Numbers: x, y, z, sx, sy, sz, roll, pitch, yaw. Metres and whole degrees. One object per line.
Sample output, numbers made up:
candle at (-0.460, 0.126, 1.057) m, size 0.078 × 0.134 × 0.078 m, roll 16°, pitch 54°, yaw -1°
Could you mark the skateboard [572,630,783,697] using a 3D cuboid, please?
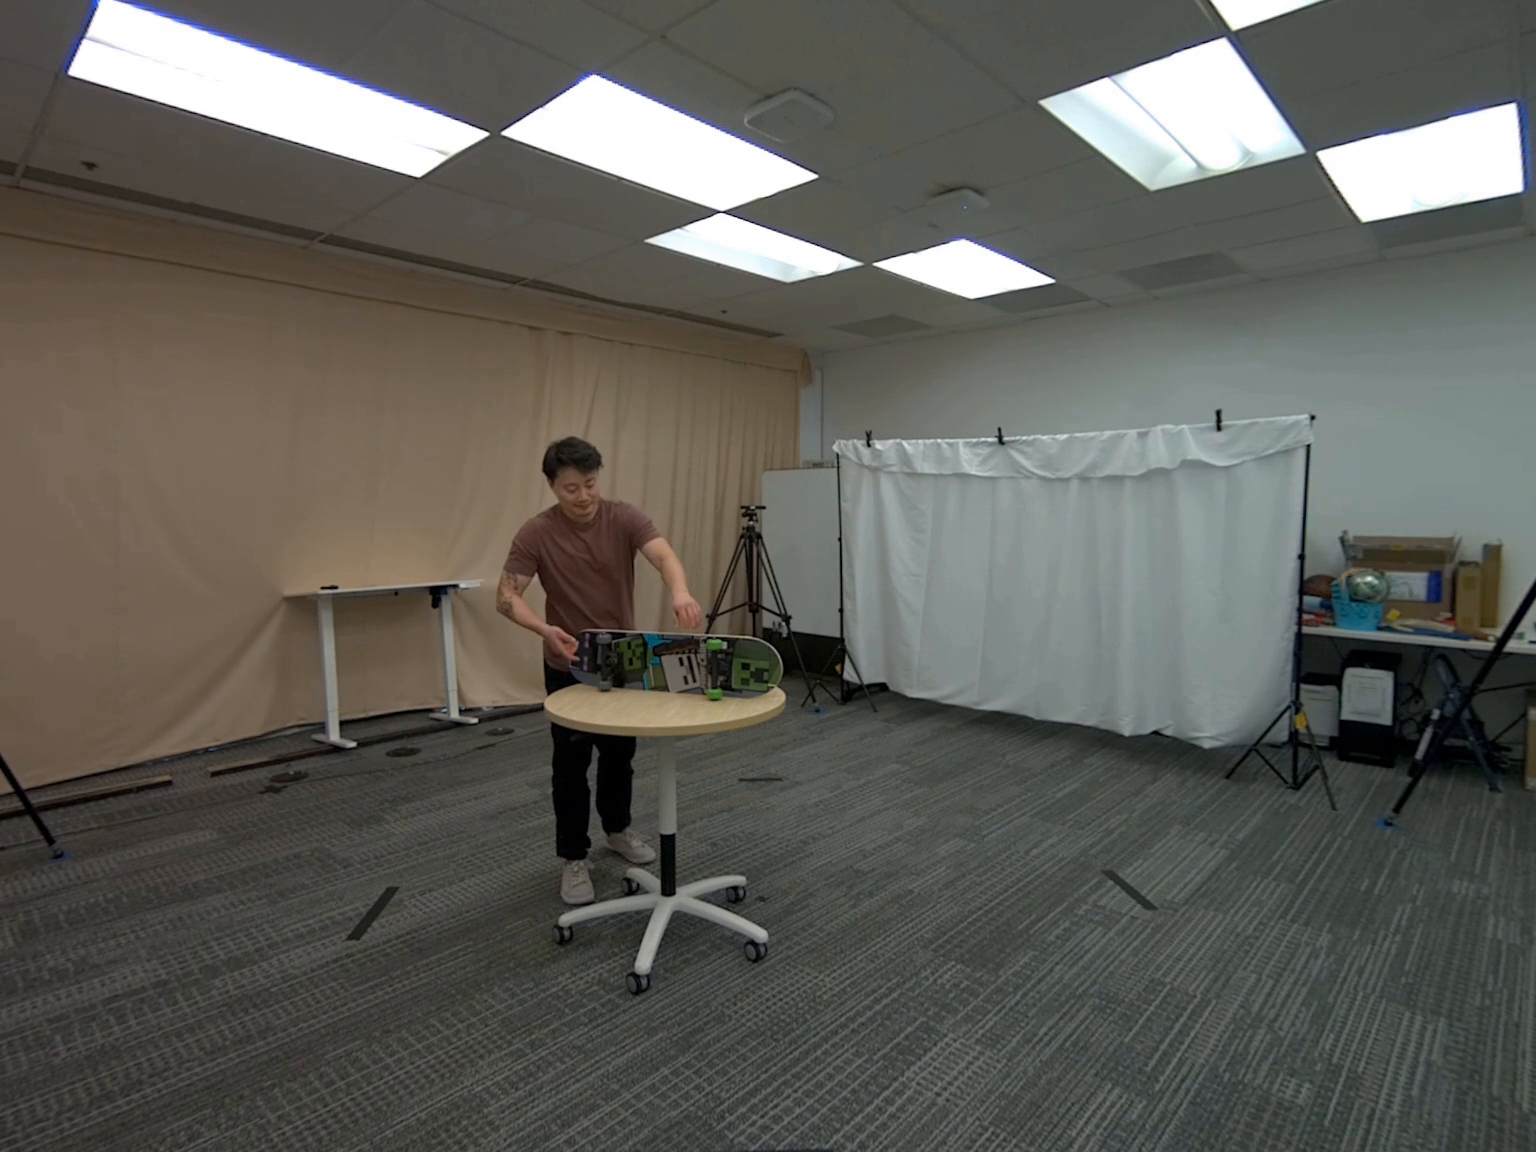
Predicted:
skateboard at (-0.332, 0.289, 2.734) m, size 0.804 × 0.193 × 0.108 m, roll 1°, pitch 5°, yaw 23°
